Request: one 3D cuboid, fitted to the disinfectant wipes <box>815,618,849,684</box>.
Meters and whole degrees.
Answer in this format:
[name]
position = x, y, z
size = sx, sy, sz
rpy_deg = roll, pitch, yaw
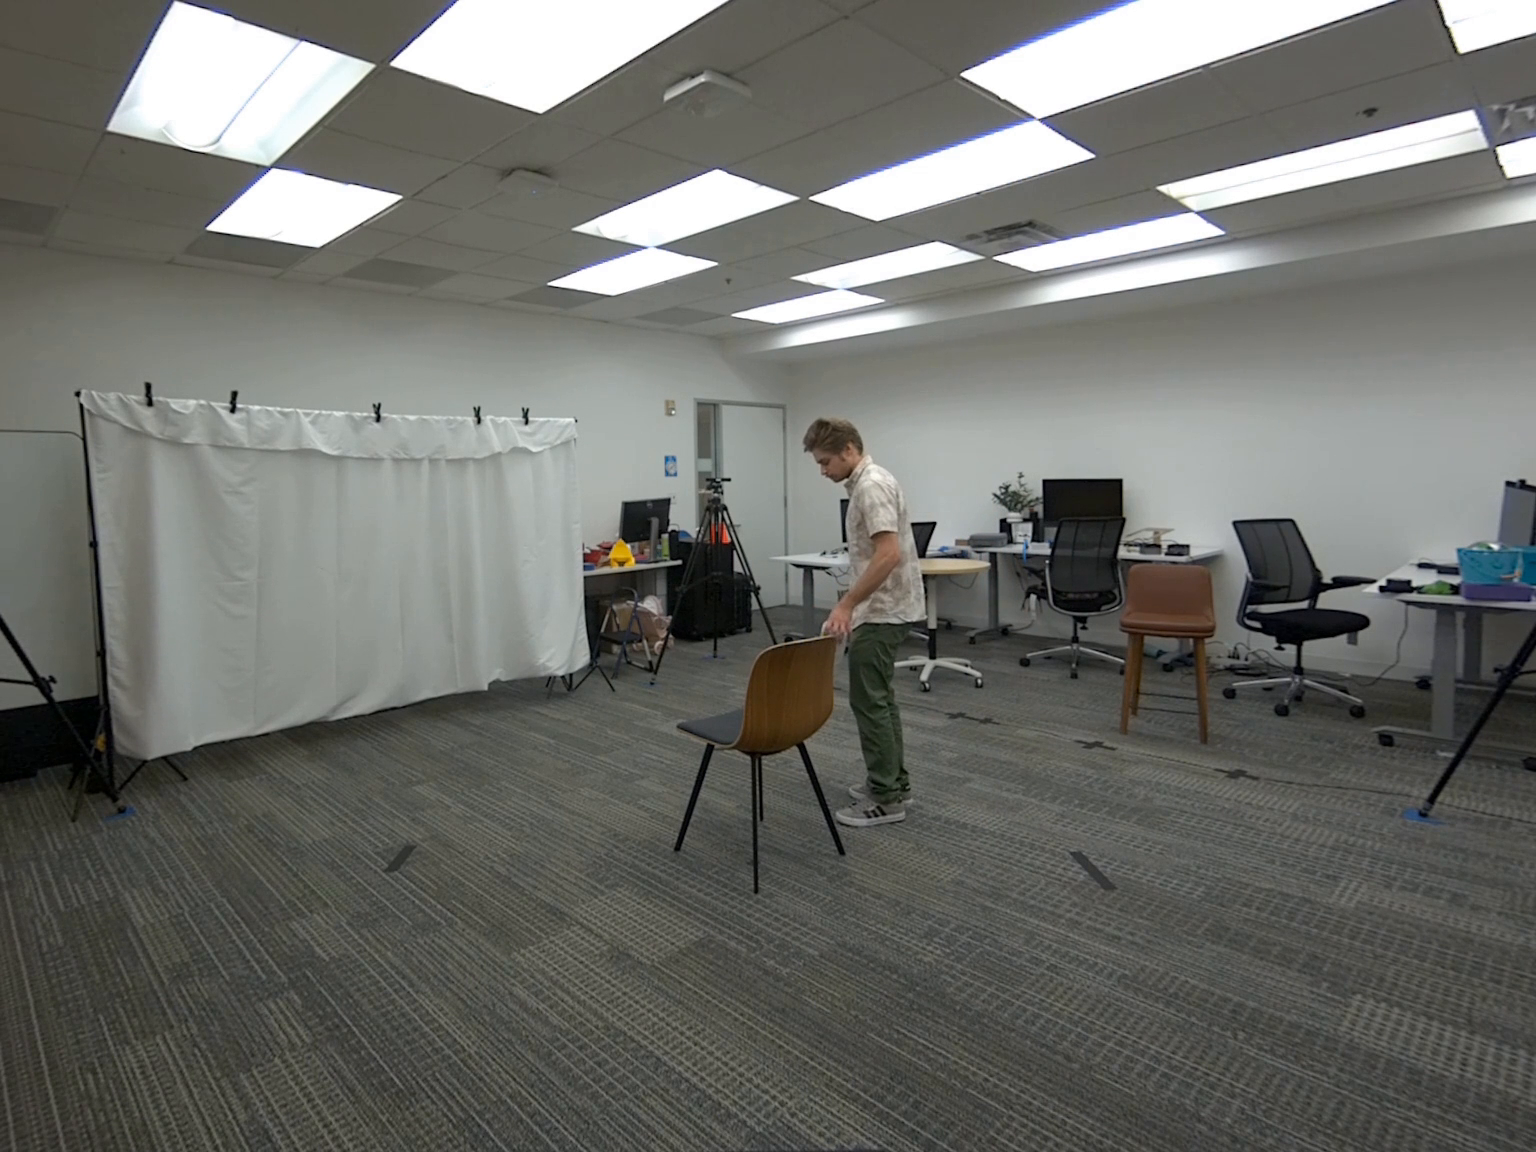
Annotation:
[disinfectant wipes]
position = 0.272, 0.301, 3.453
size = 0.117, 0.214, 0.120
rpy_deg = 7, 24, -5
